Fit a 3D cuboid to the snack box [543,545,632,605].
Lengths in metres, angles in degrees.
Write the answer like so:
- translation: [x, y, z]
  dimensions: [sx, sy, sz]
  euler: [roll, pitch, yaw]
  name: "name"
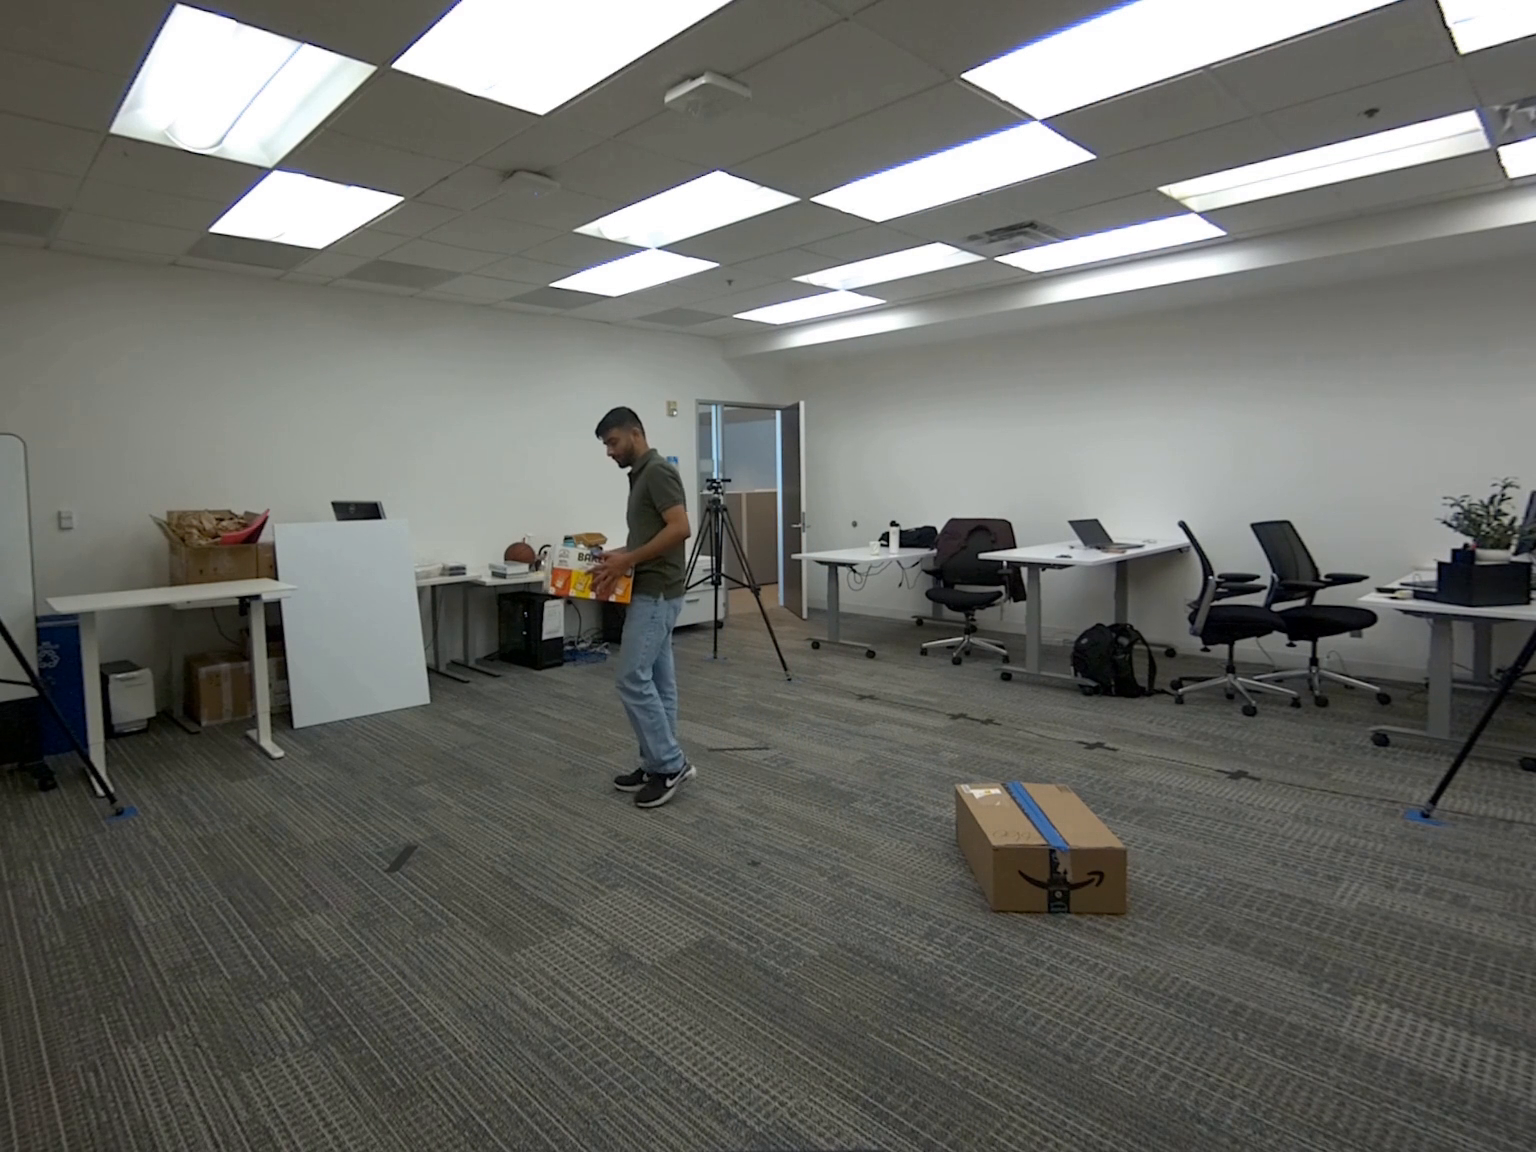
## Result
- translation: [-0.785, -0.007, 3.736]
  dimensions: [0.335, 0.206, 0.411]
  euler: [7, -2, -16]
  name: "snack box"
